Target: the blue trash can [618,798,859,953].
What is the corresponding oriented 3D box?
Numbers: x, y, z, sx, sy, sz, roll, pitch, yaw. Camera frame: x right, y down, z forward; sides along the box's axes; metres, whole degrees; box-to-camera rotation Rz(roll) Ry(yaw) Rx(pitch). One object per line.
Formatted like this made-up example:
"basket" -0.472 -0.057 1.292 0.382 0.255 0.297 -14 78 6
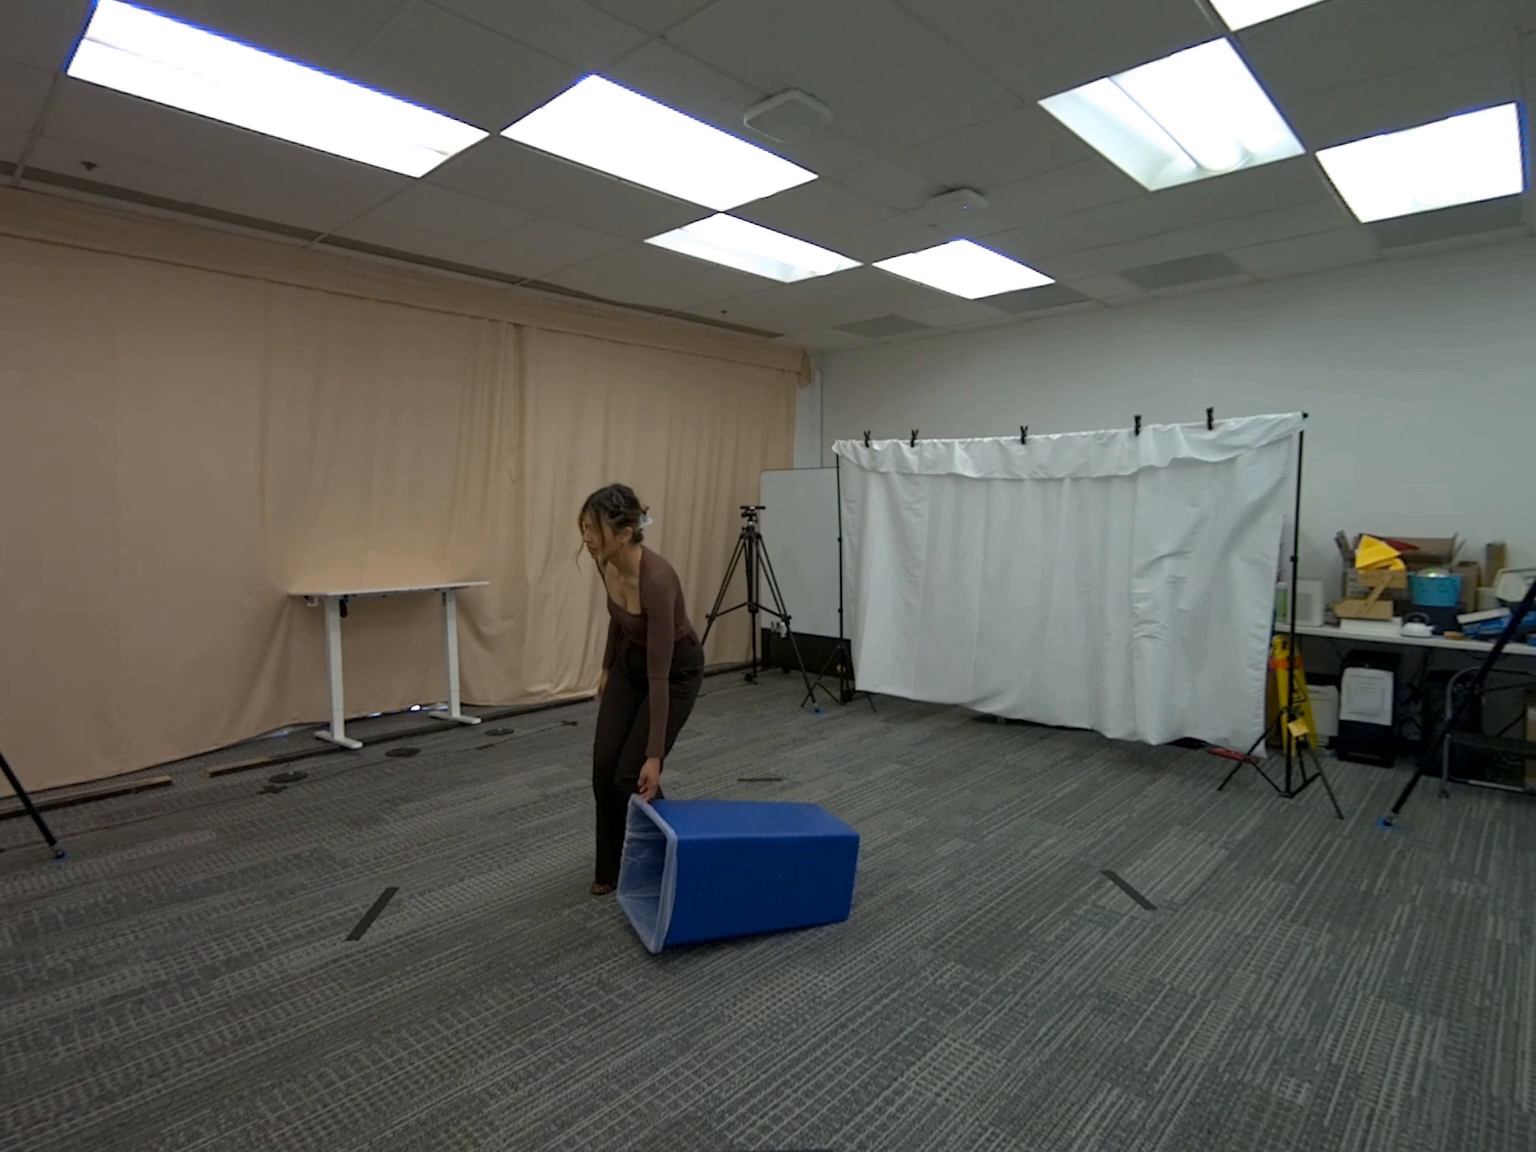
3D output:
"blue trash can" -0.076 0.963 2.781 0.695 0.378 0.384 5 2 -26
